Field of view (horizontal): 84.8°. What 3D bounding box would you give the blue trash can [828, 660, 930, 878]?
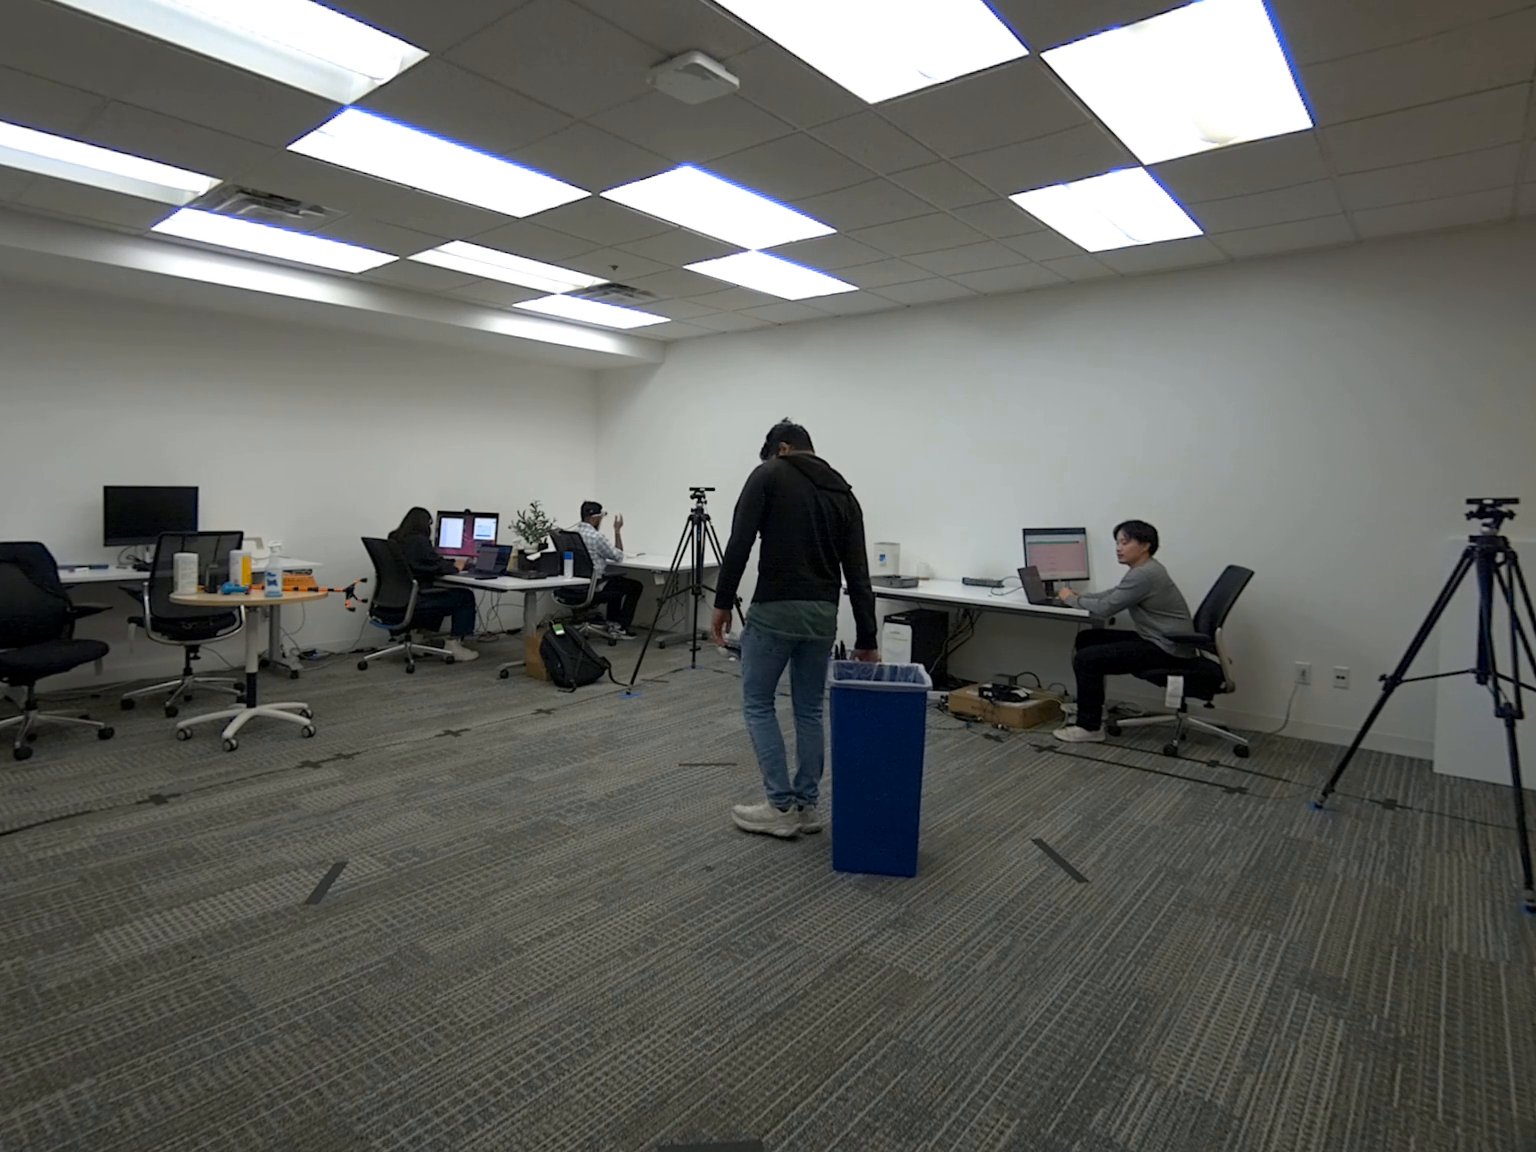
[{"bbox_3d":[0.391,0.709,3.213,0.377,0.711,0.376,2,4,6],"label":"blue trash can"}]
